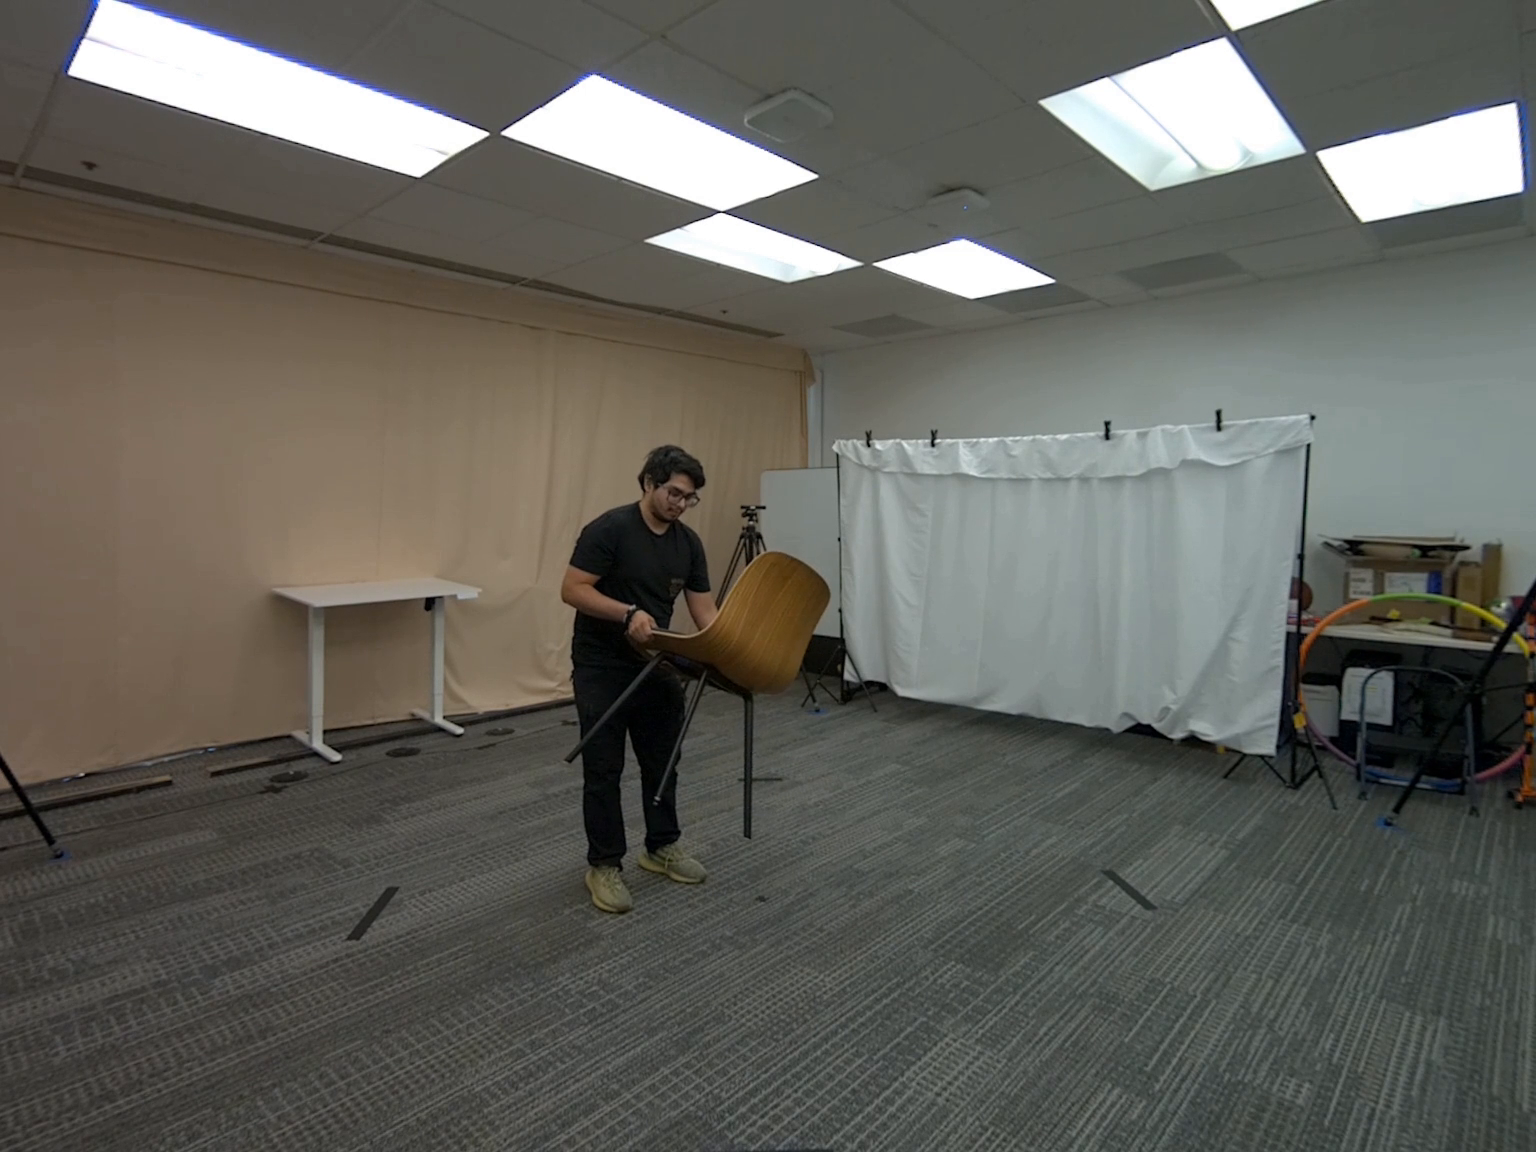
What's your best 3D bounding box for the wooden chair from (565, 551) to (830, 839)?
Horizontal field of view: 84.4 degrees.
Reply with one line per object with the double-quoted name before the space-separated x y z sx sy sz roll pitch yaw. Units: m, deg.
"wooden chair" -0.198 0.338 2.782 0.541 0.879 0.461 9 -21 46
